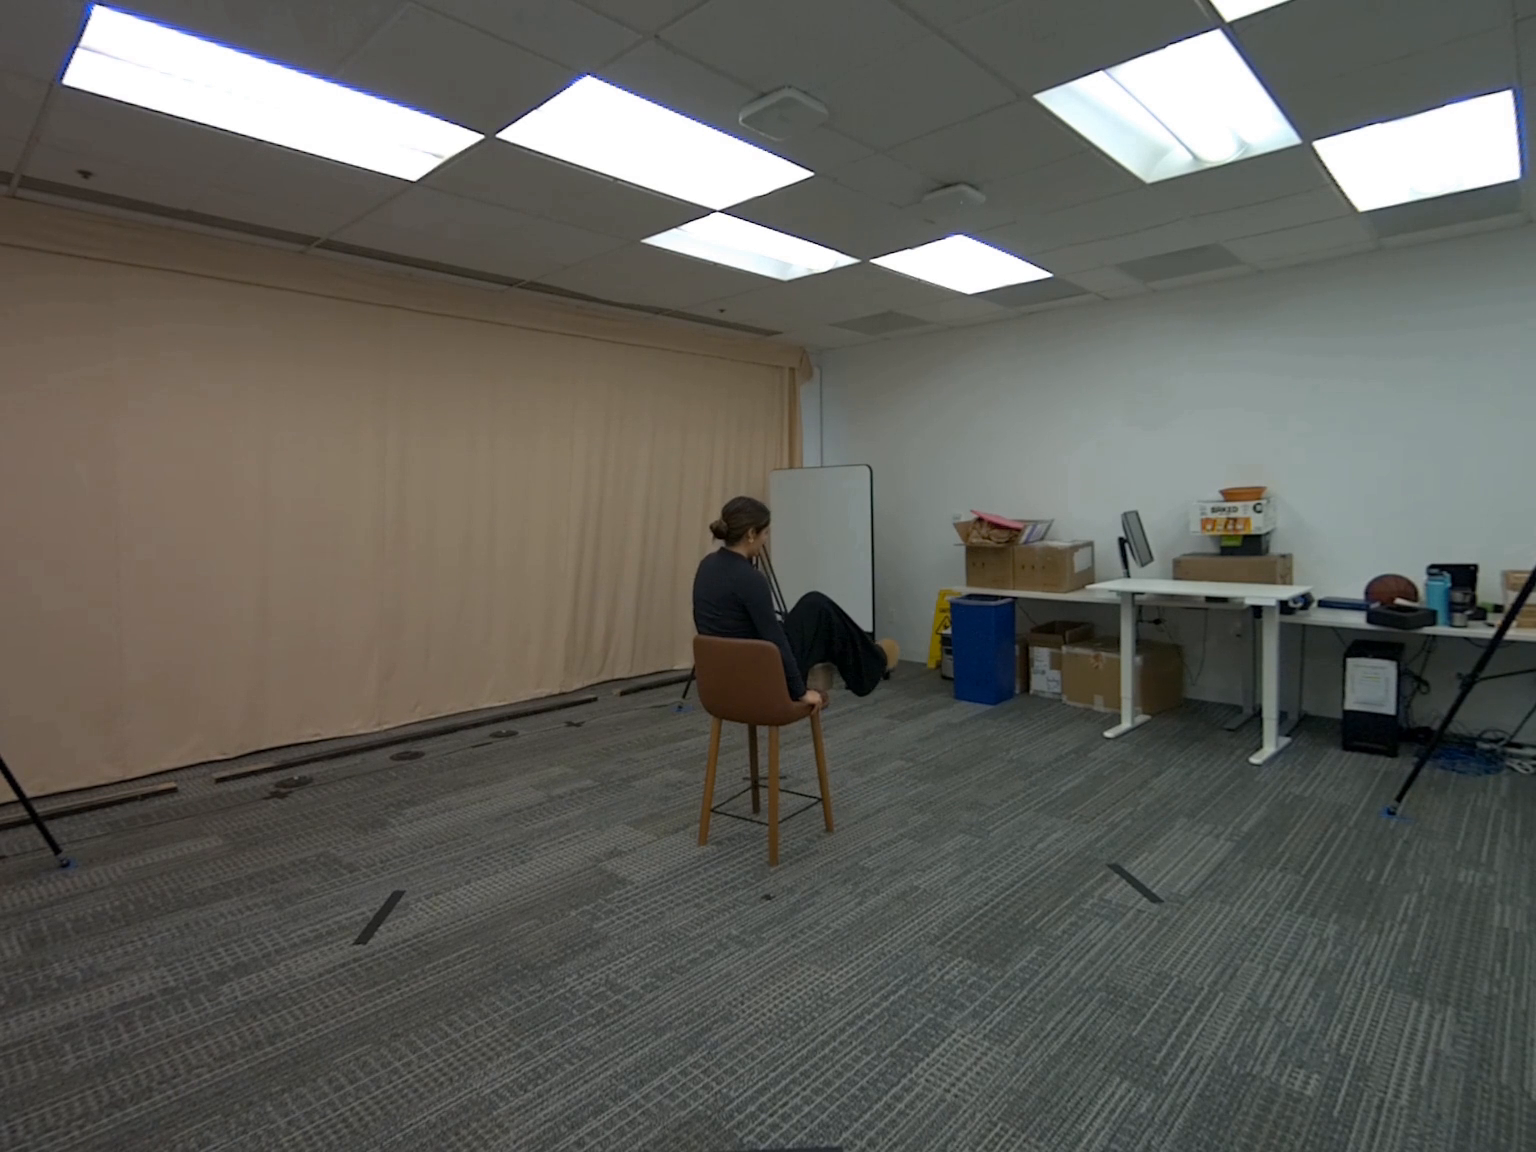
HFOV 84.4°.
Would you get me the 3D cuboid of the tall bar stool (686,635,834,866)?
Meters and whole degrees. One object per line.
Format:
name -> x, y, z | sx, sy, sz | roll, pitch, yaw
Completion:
tall bar stool -> -0.020, 0.661, 3.497 | 0.471, 0.887, 0.455 | 1, 6, 35
